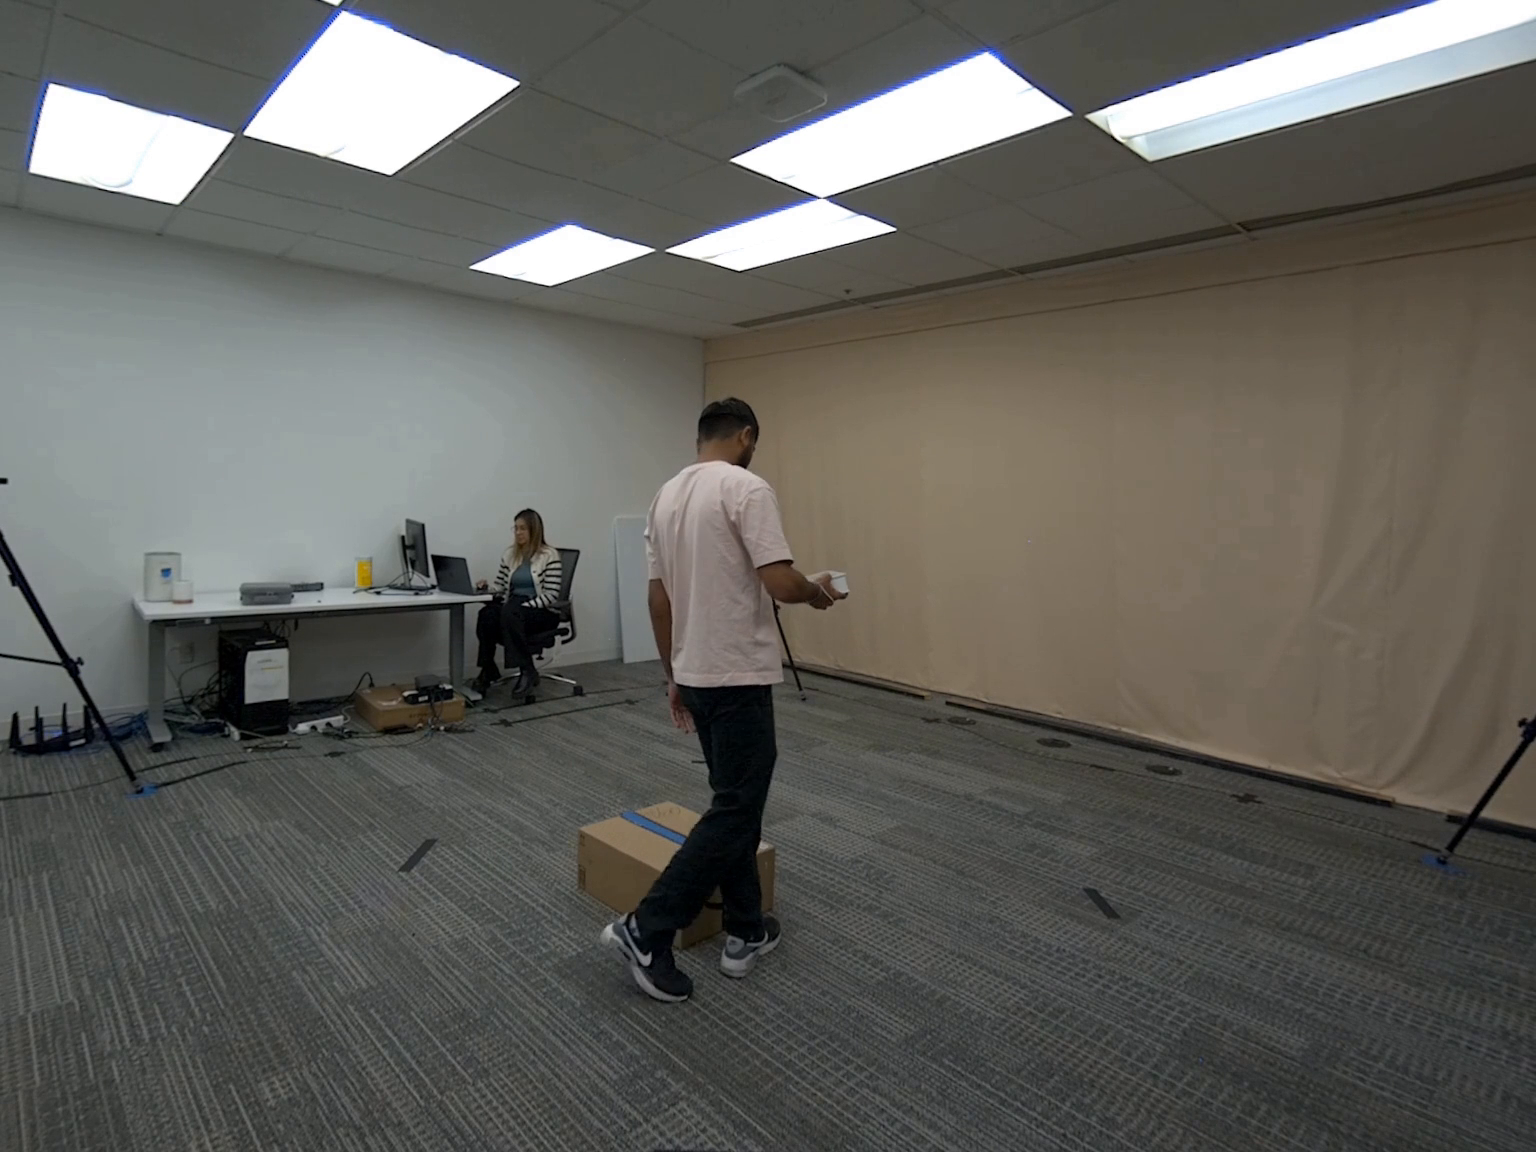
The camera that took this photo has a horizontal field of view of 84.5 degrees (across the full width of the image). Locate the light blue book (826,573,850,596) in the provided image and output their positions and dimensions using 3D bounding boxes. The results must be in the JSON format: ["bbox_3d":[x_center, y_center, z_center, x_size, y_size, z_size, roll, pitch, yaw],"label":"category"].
[{"bbox_3d":[0.179,0.068,2.566,0.261,0.059,0.191,-7,2,2],"label":"light blue book"}]
